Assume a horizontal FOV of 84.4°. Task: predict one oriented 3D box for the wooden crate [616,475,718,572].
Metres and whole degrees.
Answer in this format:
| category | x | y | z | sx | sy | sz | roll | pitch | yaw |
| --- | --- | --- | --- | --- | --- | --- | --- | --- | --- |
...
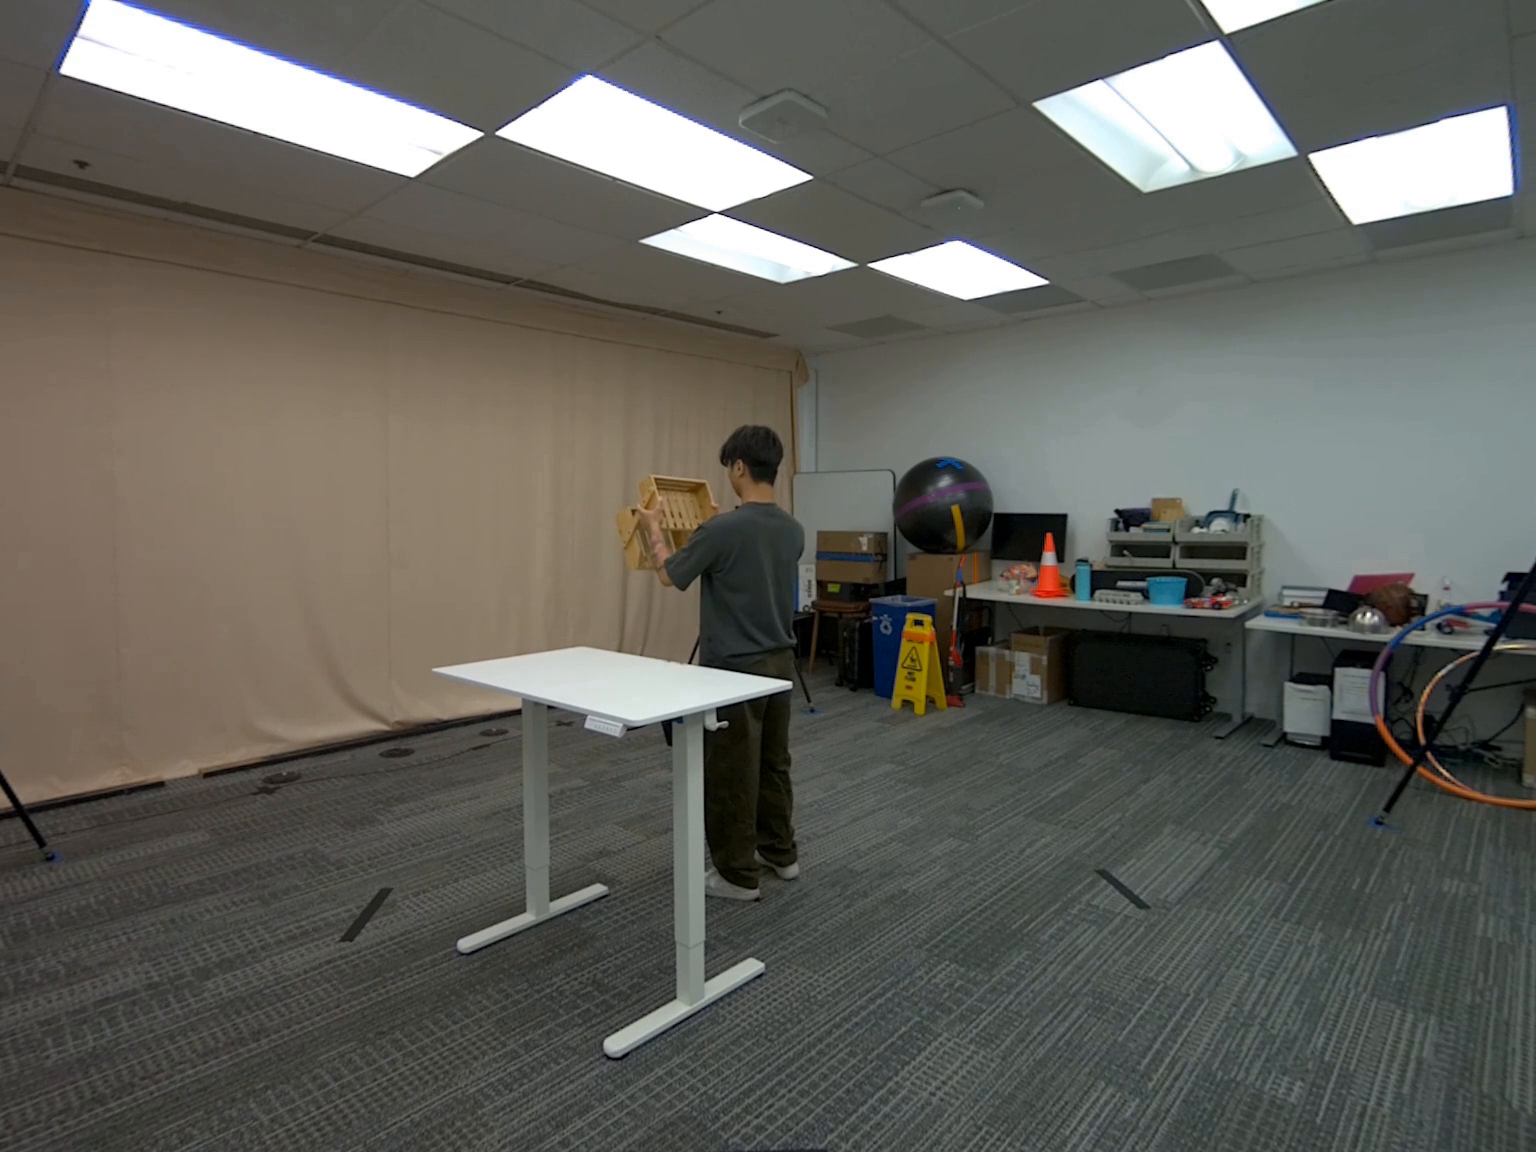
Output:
| category | x | y | z | sx | sy | sz | roll | pitch | yaw |
| --- | --- | --- | --- | --- | --- | --- | --- | --- | --- |
| wooden crate | -0.382 | -0.199 | 3.333 | 0.278 | 0.307 | 0.314 | -31 | -21 | 38 |
